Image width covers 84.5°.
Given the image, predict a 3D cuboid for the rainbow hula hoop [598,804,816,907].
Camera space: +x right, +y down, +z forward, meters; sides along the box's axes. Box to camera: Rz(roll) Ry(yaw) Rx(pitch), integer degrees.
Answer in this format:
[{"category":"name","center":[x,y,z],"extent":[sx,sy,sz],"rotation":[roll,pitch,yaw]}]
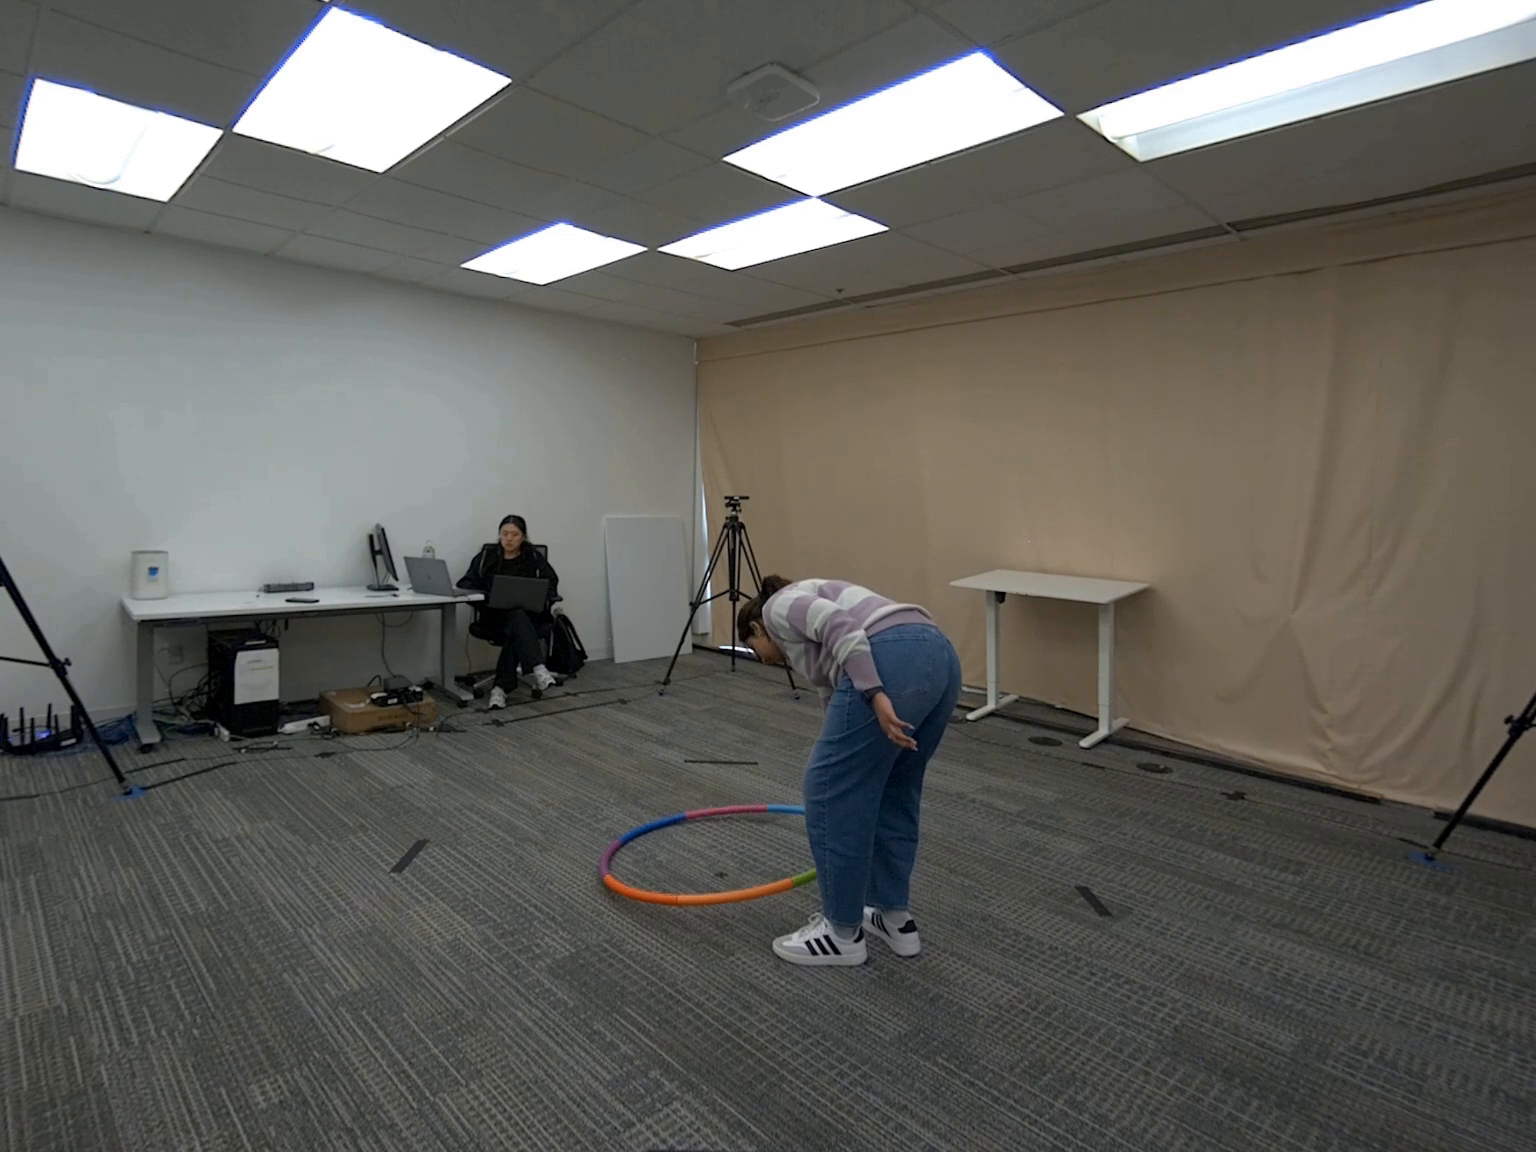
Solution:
[{"category":"rainbow hula hoop","center":[-0.144,1.009,3.168],"extent":[0.985,0.051,0.986],"rotation":[-6,2,-1]}]
